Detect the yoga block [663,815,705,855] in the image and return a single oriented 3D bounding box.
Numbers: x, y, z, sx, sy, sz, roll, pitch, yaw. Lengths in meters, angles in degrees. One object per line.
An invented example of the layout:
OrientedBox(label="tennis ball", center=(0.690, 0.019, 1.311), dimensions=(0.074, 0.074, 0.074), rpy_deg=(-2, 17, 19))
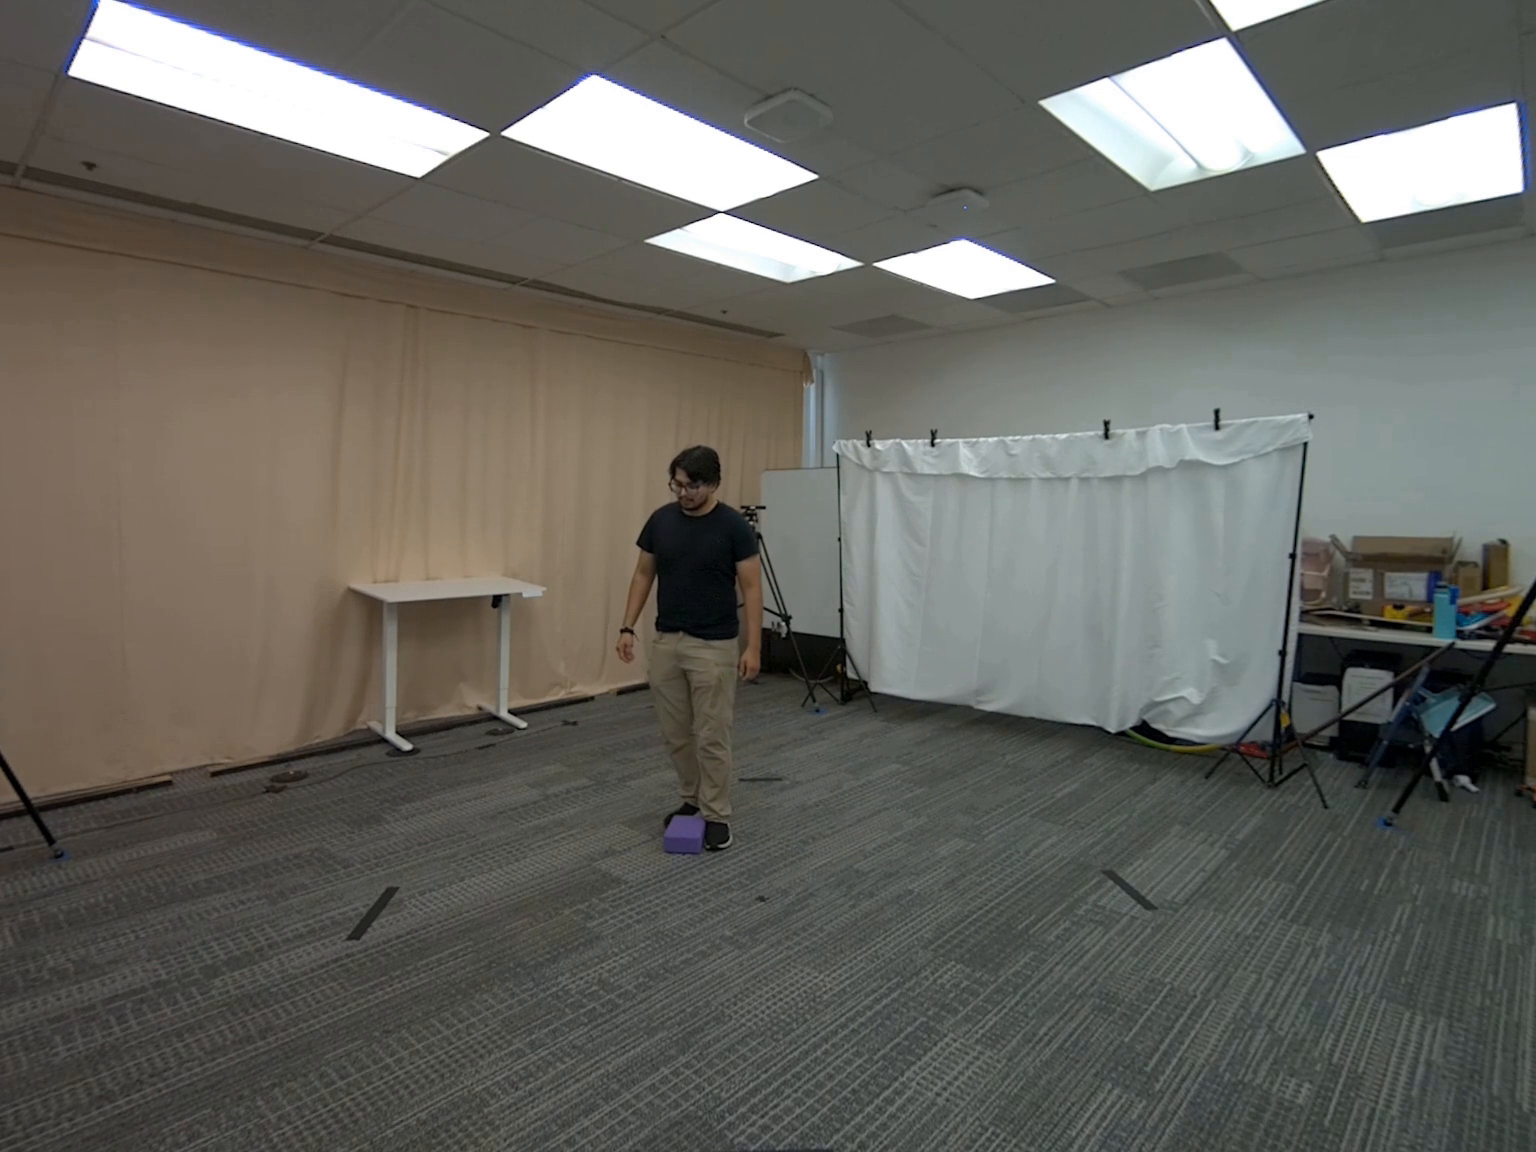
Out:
OrientedBox(label="yoga block", center=(-0.334, 1.057, 3.479), dimensions=(0.150, 0.076, 0.228), rpy_deg=(1, 4, 5))
